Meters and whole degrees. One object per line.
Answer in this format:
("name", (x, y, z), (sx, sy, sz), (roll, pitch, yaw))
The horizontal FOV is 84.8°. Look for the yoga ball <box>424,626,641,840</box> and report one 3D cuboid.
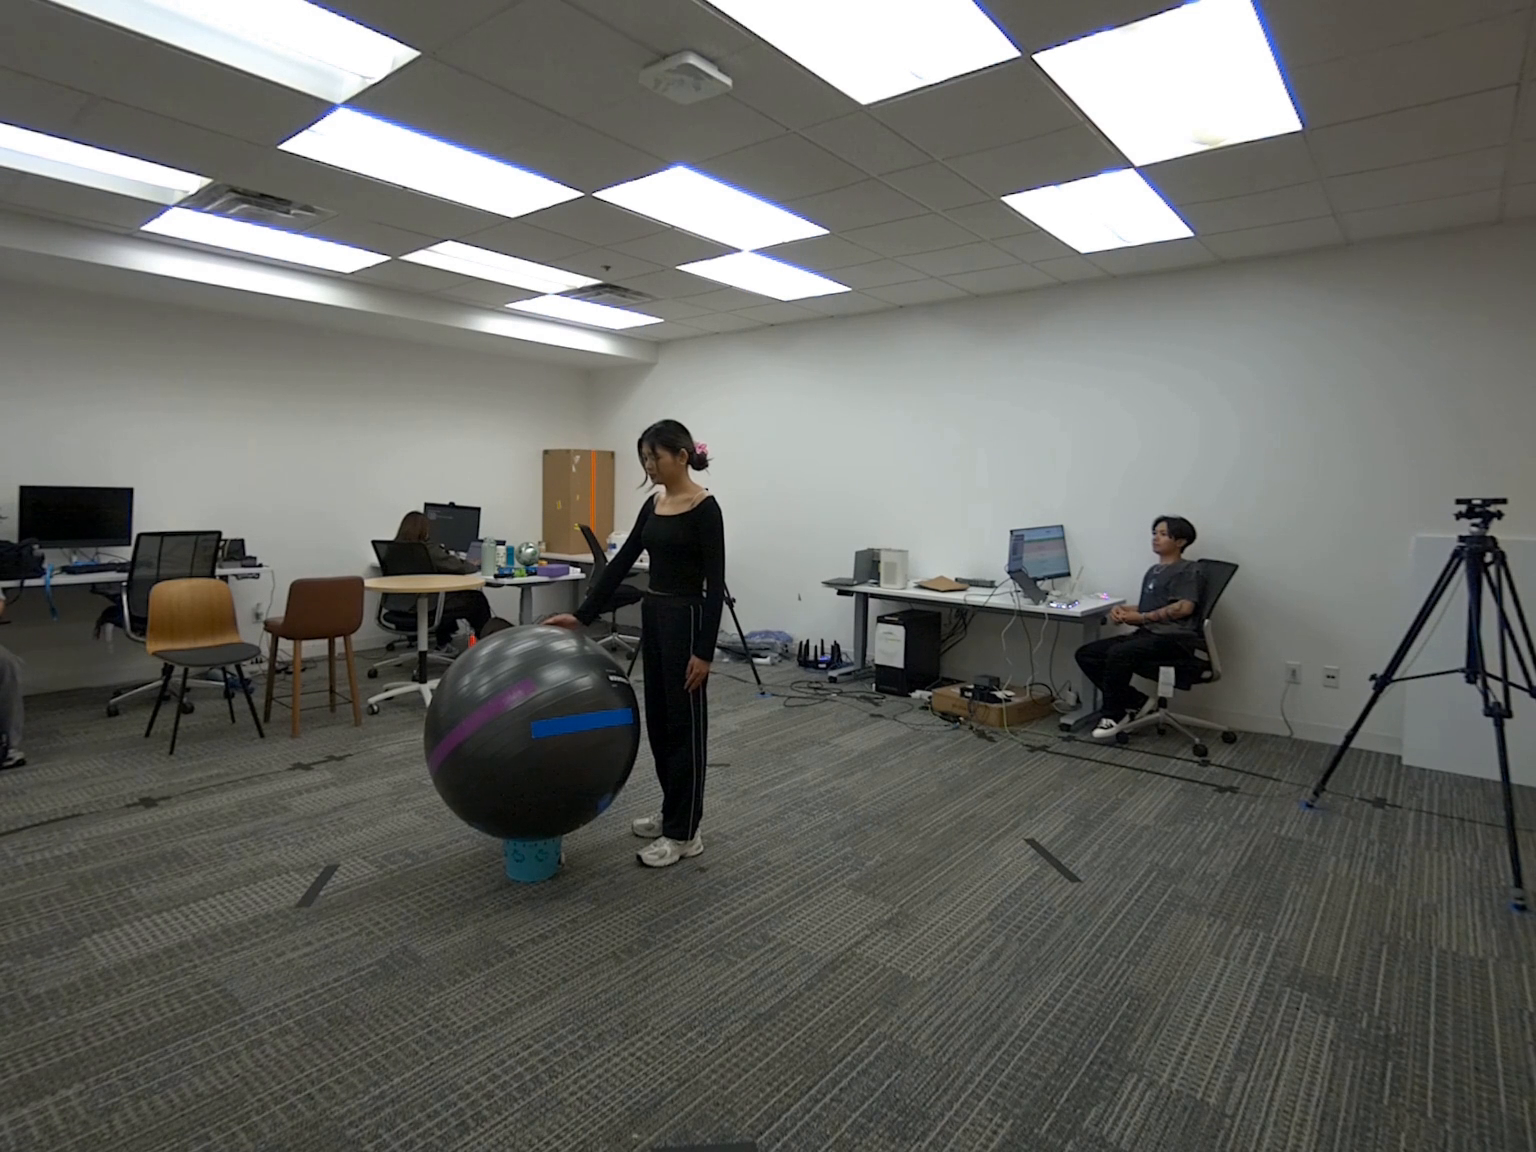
("yoga ball", (-0.860, 0.555, 3.053), (0.757, 0.756, 0.762), (1, 4, -2))
